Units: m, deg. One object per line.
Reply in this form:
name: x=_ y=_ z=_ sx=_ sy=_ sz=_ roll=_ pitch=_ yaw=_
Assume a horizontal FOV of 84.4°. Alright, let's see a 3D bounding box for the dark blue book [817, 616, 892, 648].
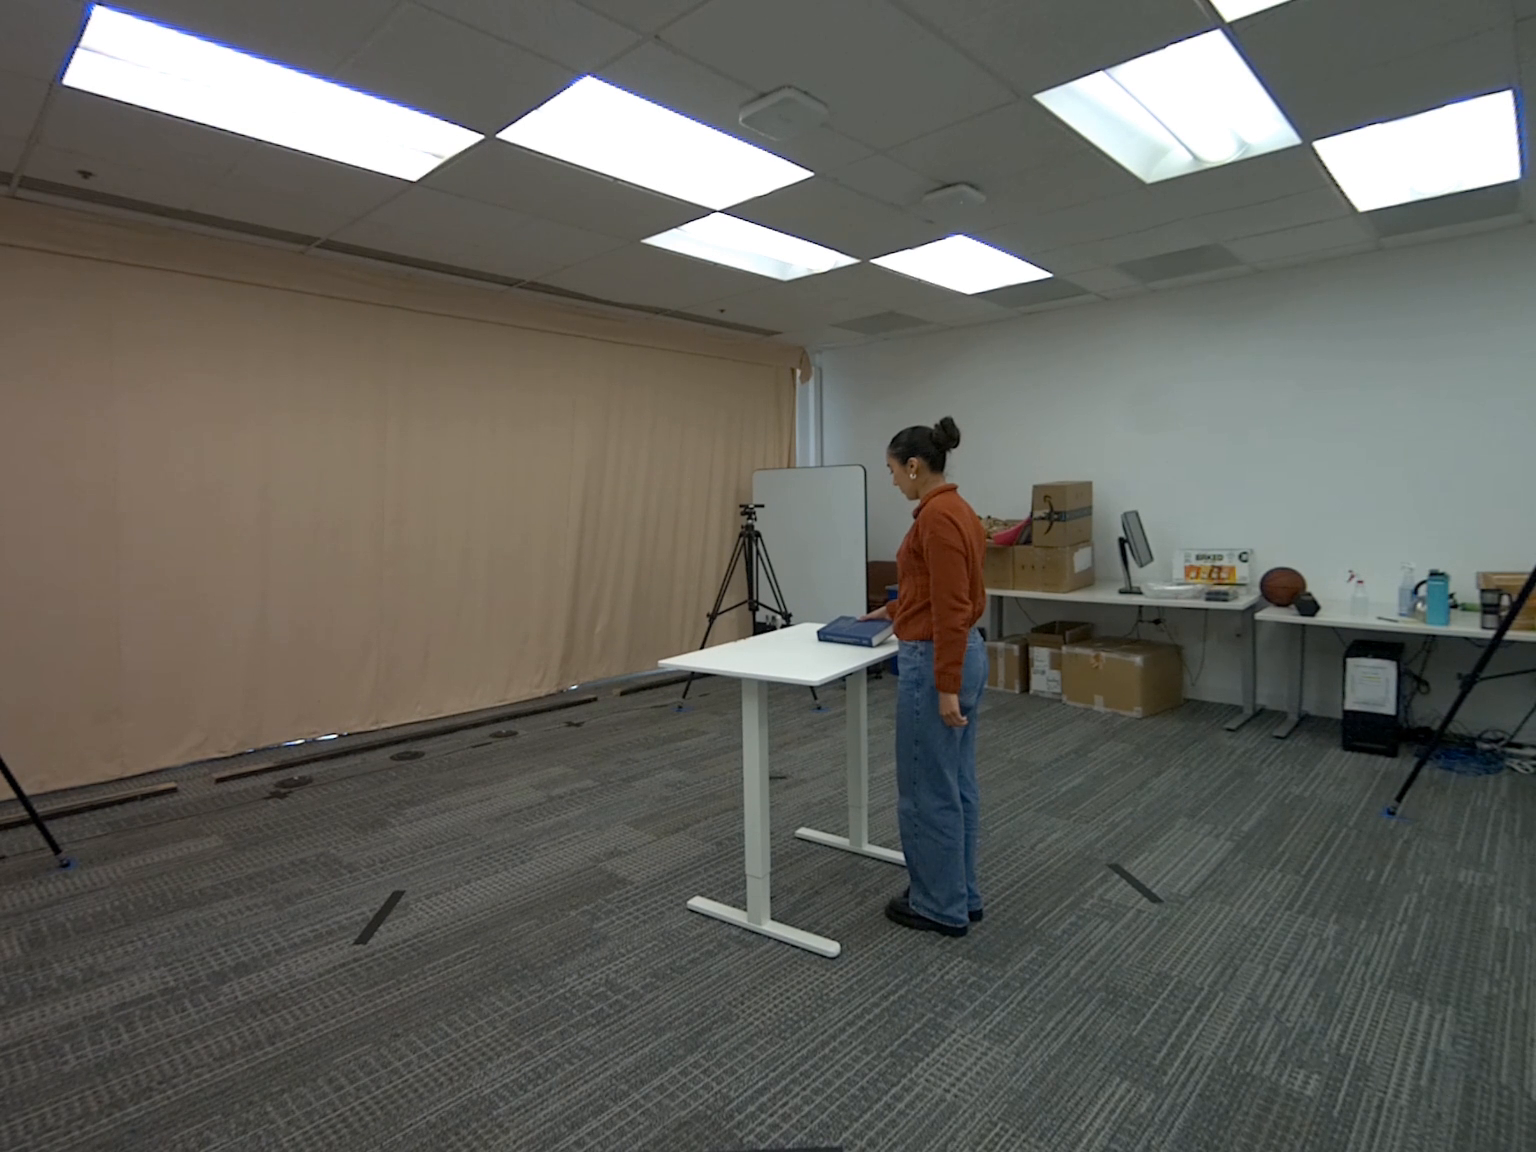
dark blue book: x=0.323 y=0.210 z=3.073 sx=0.253 sy=0.045 sz=0.160 roll=3 pitch=20 yaw=45
